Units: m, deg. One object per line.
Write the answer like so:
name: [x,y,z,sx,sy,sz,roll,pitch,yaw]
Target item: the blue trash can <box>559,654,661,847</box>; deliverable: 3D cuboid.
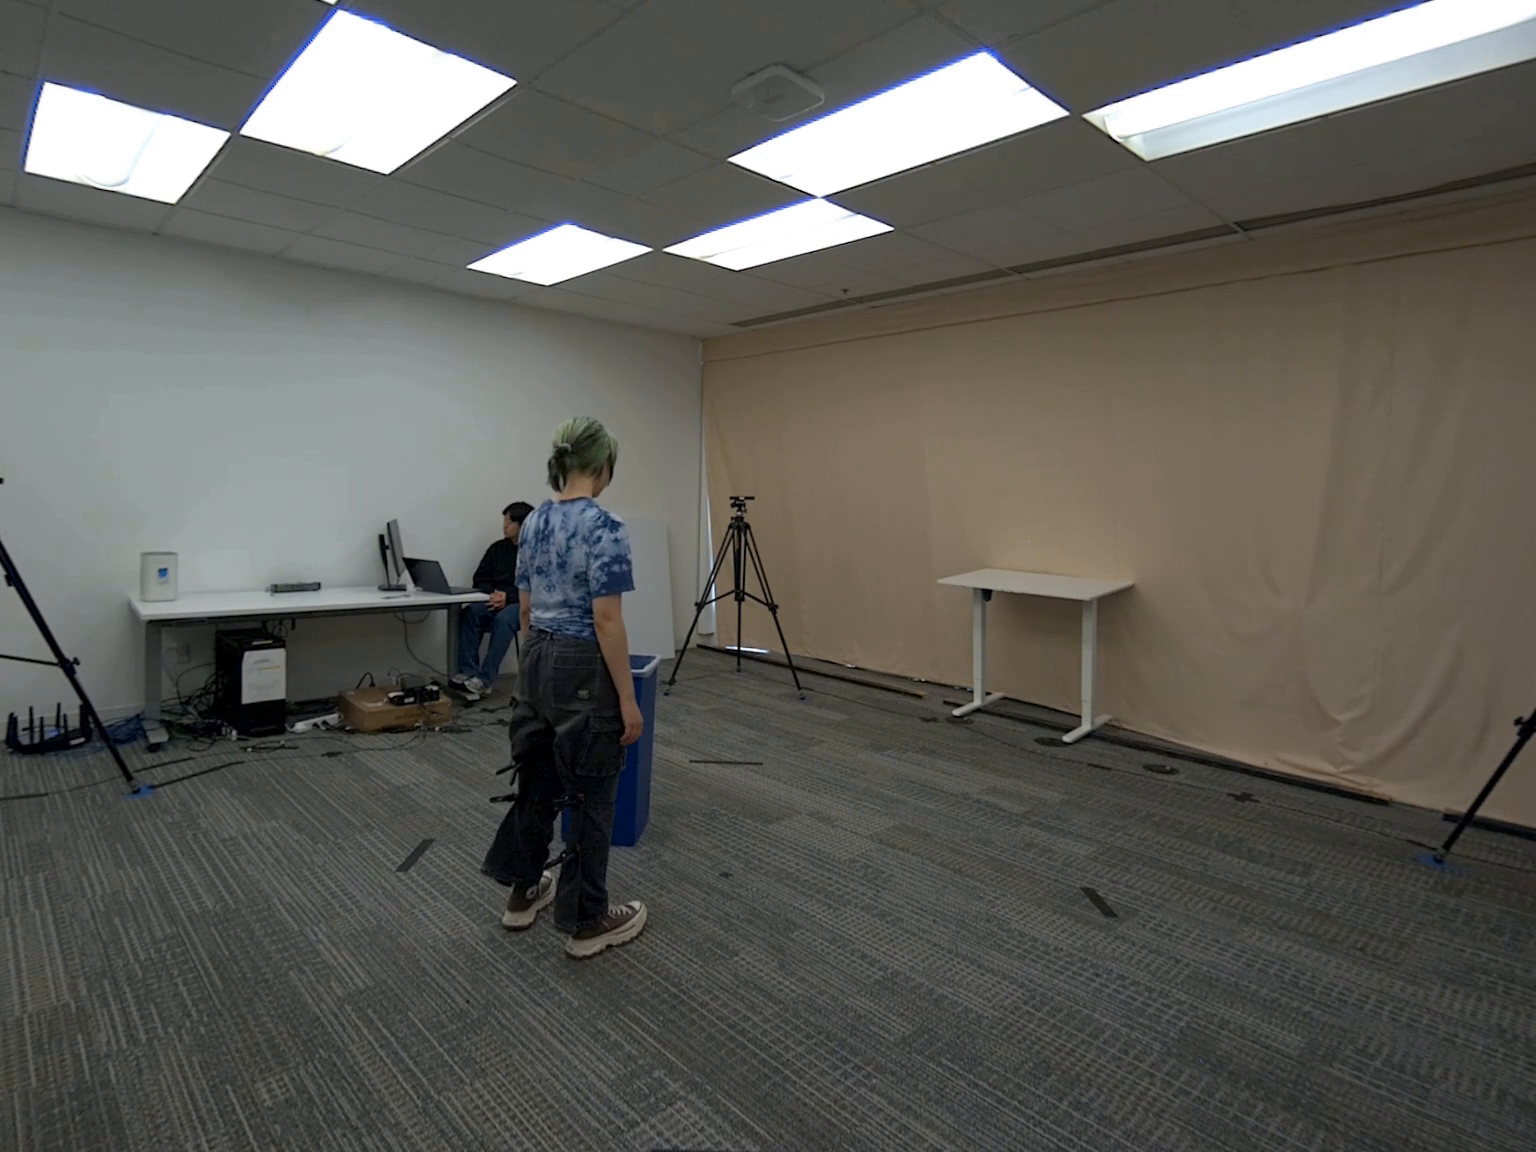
blue trash can: [-0.662,0.705,3.480,0.376,0.712,0.377,2,4,5]
